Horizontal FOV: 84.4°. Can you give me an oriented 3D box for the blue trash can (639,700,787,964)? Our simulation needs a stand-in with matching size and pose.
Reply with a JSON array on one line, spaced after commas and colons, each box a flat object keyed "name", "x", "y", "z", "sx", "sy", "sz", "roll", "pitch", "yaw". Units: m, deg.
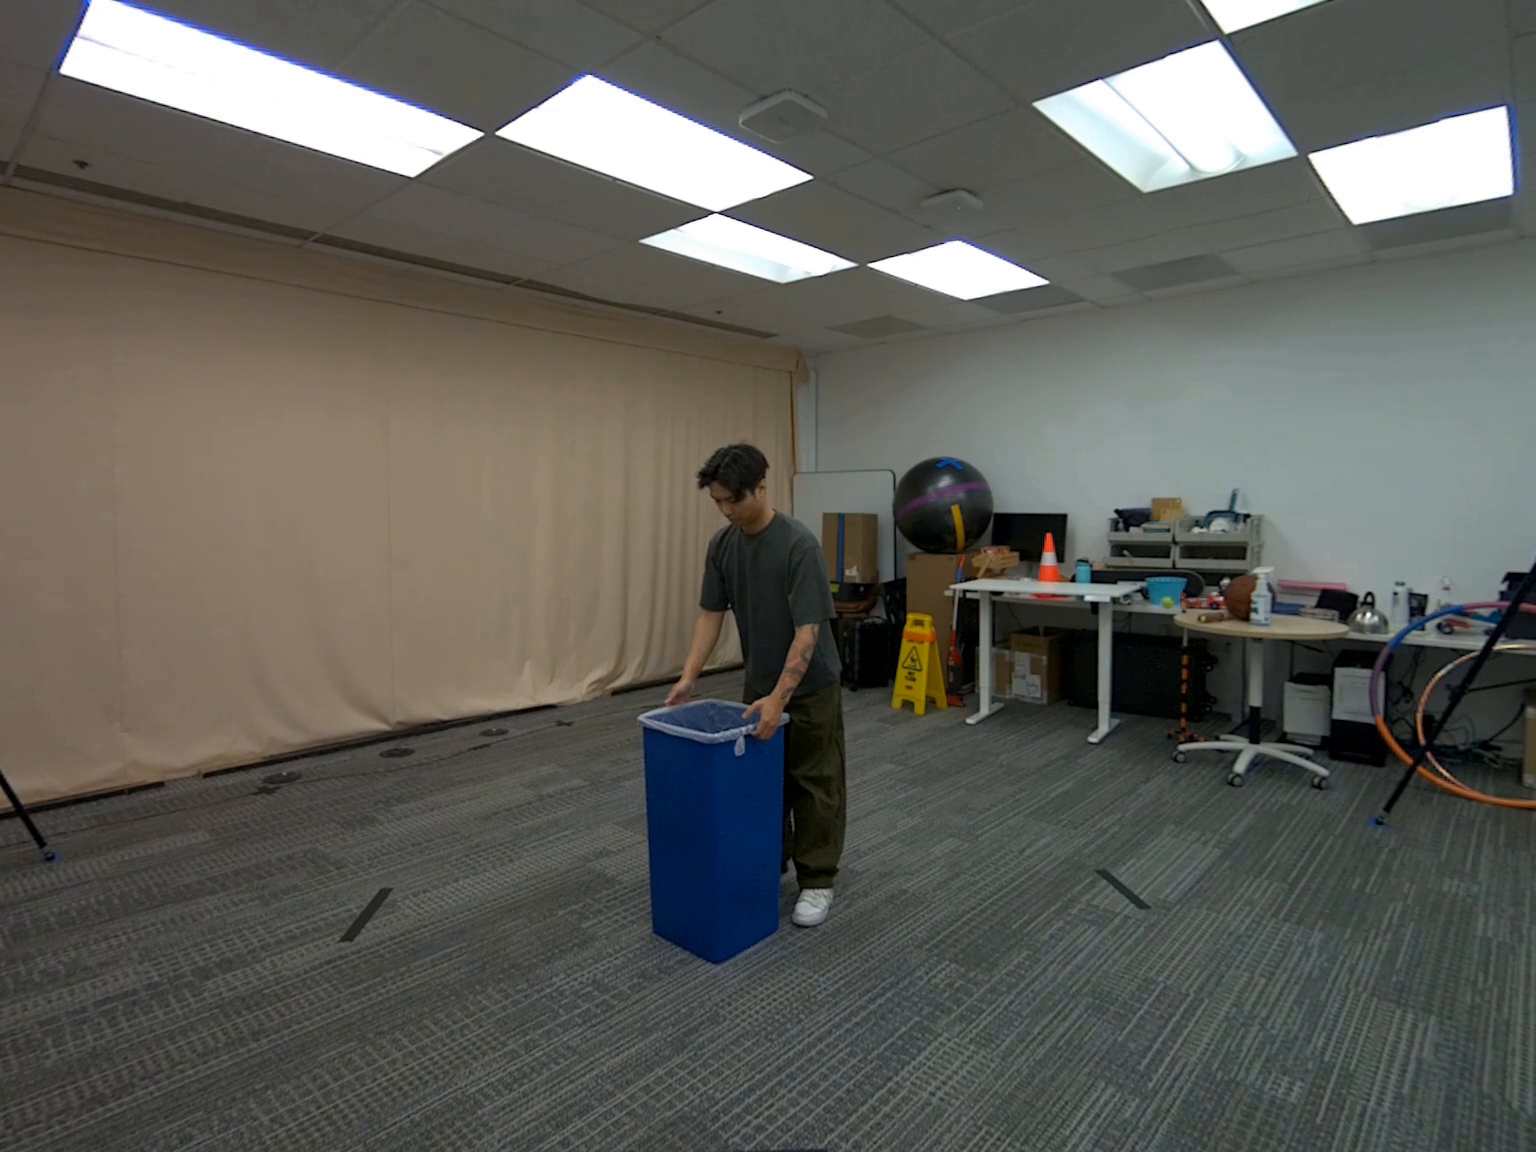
[{"name": "blue trash can", "x": -0.173, "y": 0.808, "z": 2.734, "sx": 0.390, "sy": 0.712, "sz": 0.362, "roll": 2, "pitch": 3, "yaw": 42}]
